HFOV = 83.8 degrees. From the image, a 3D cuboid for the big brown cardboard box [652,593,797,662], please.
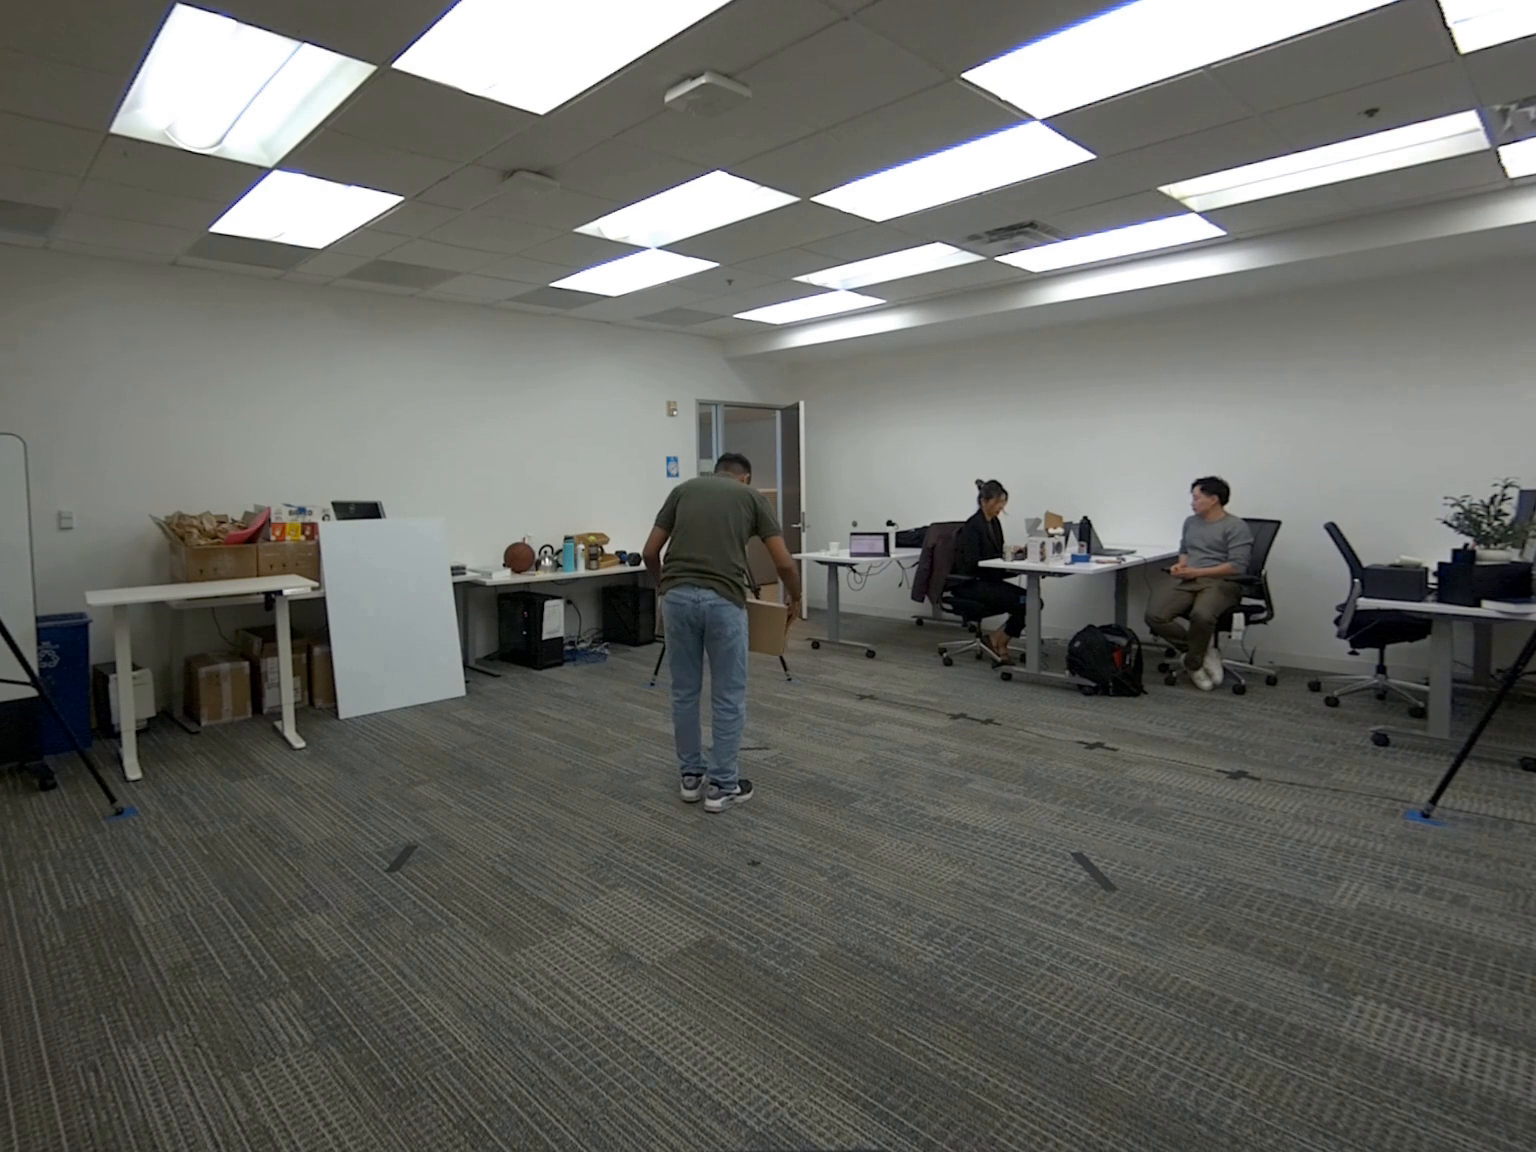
[{"bbox_3d":[-0.186,0.210,3.950,0.594,0.233,0.413,9,-1,7],"label":"big brown cardboard box"}]
